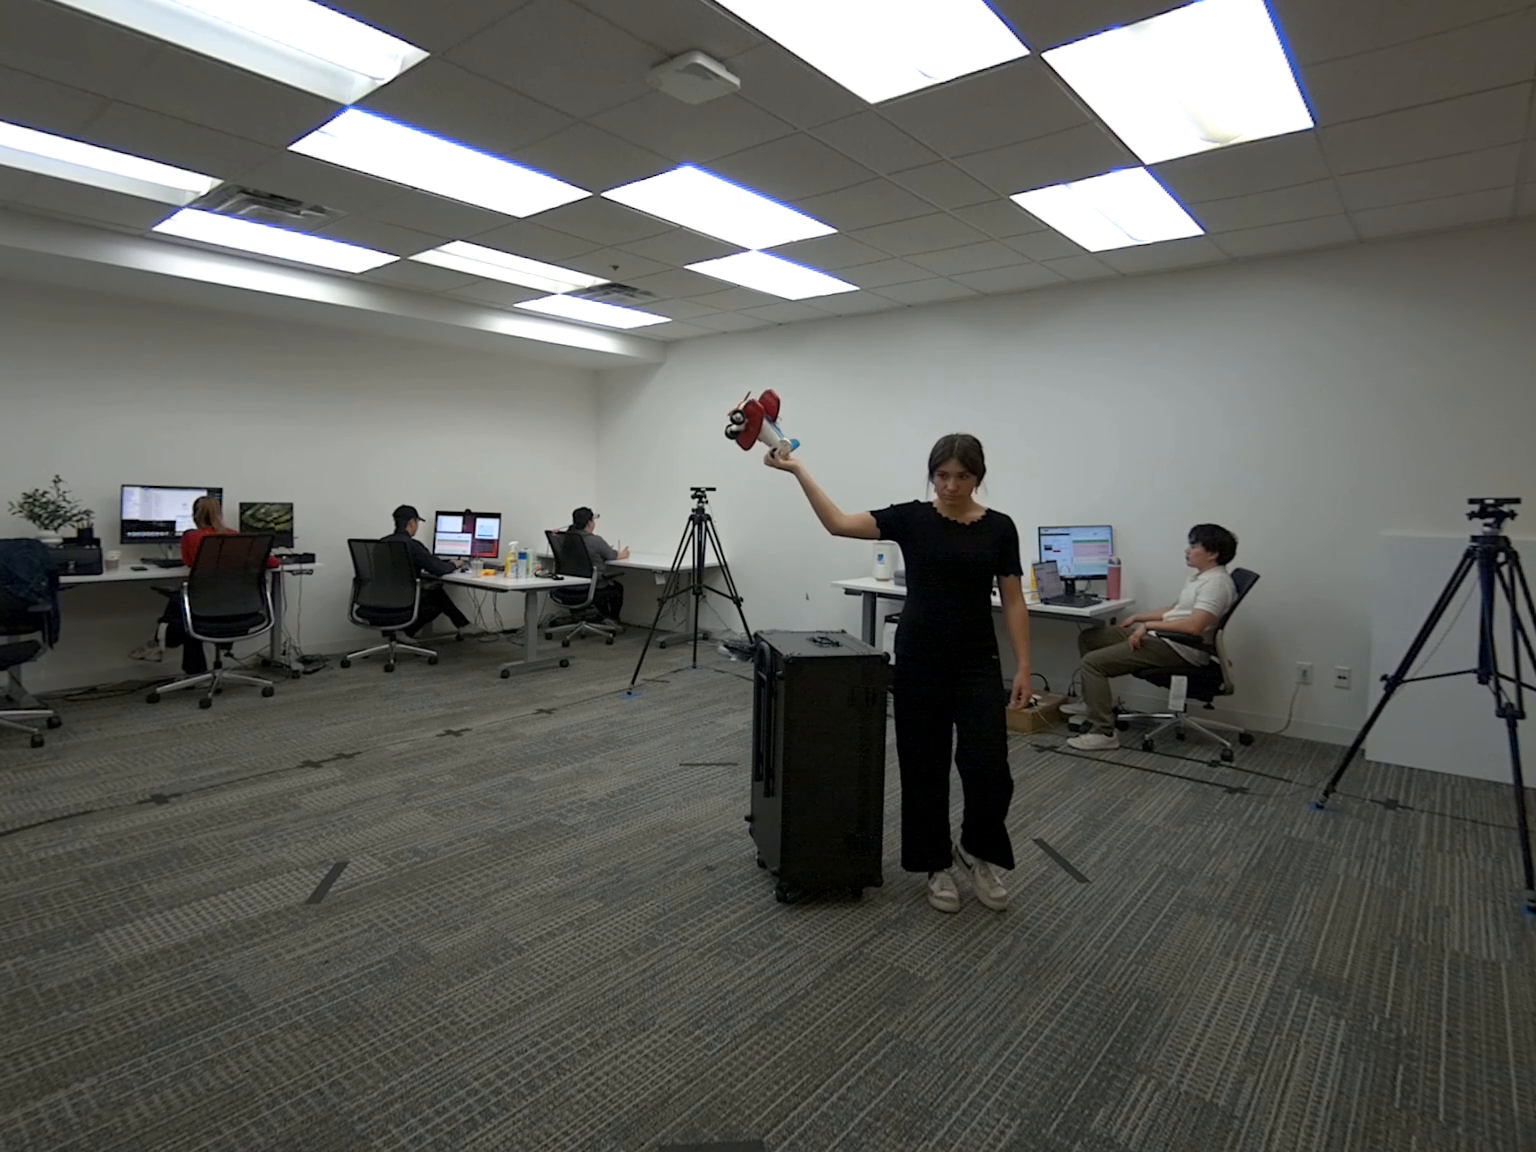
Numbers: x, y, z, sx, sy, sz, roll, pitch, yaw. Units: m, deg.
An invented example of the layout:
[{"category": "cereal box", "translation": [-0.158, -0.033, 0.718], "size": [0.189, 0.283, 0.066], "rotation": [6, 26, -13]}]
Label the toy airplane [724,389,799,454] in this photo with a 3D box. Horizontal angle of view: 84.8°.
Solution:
[{"category": "toy airplane", "translation": [-0.038, -0.504, 2.975], "size": [0.257, 0.253, 0.156], "rotation": [-12, 32, 54]}]
